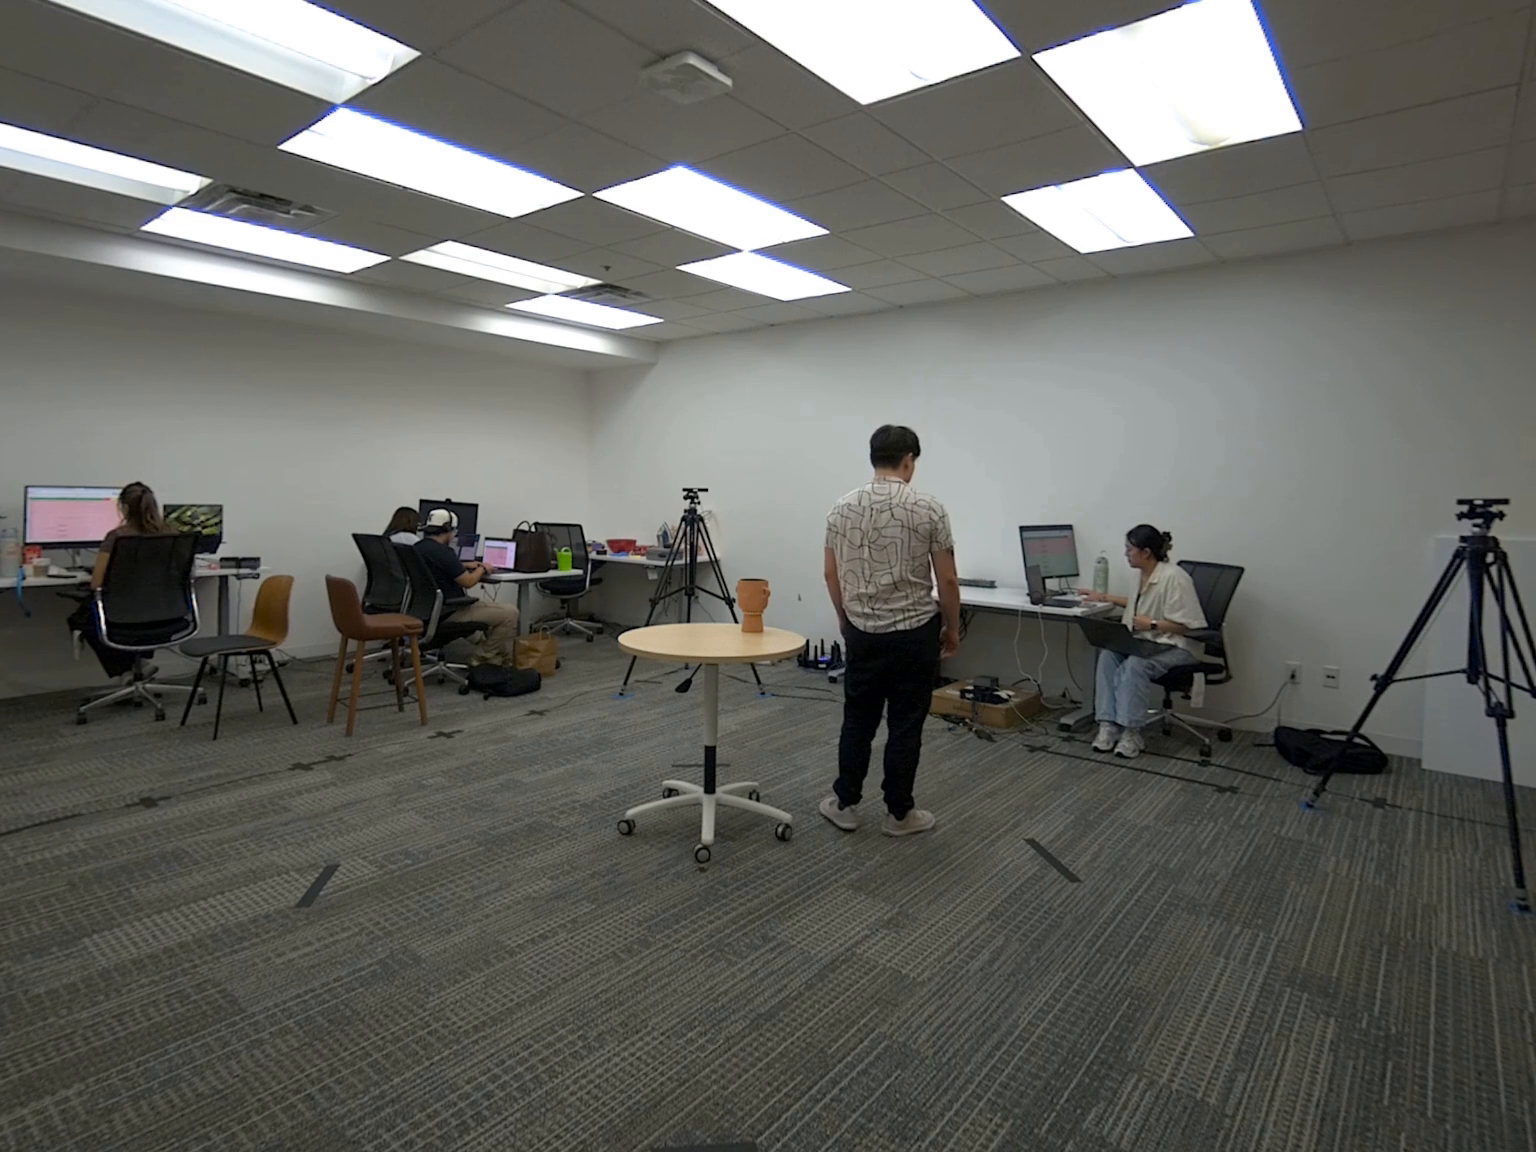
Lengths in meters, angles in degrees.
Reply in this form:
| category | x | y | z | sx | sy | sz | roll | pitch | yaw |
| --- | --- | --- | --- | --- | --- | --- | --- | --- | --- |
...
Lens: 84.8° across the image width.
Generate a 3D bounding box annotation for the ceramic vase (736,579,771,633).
| category | x | y | z | sx | sy | sz | roll | pitch | yaw |
| --- | --- | --- | --- | --- | --- | --- | --- | --- | --- |
| ceramic vase | -0.073 | 0.124 | 3.680 | 0.134 | 0.219 | 0.160 | 1 | 3 | -6 |
